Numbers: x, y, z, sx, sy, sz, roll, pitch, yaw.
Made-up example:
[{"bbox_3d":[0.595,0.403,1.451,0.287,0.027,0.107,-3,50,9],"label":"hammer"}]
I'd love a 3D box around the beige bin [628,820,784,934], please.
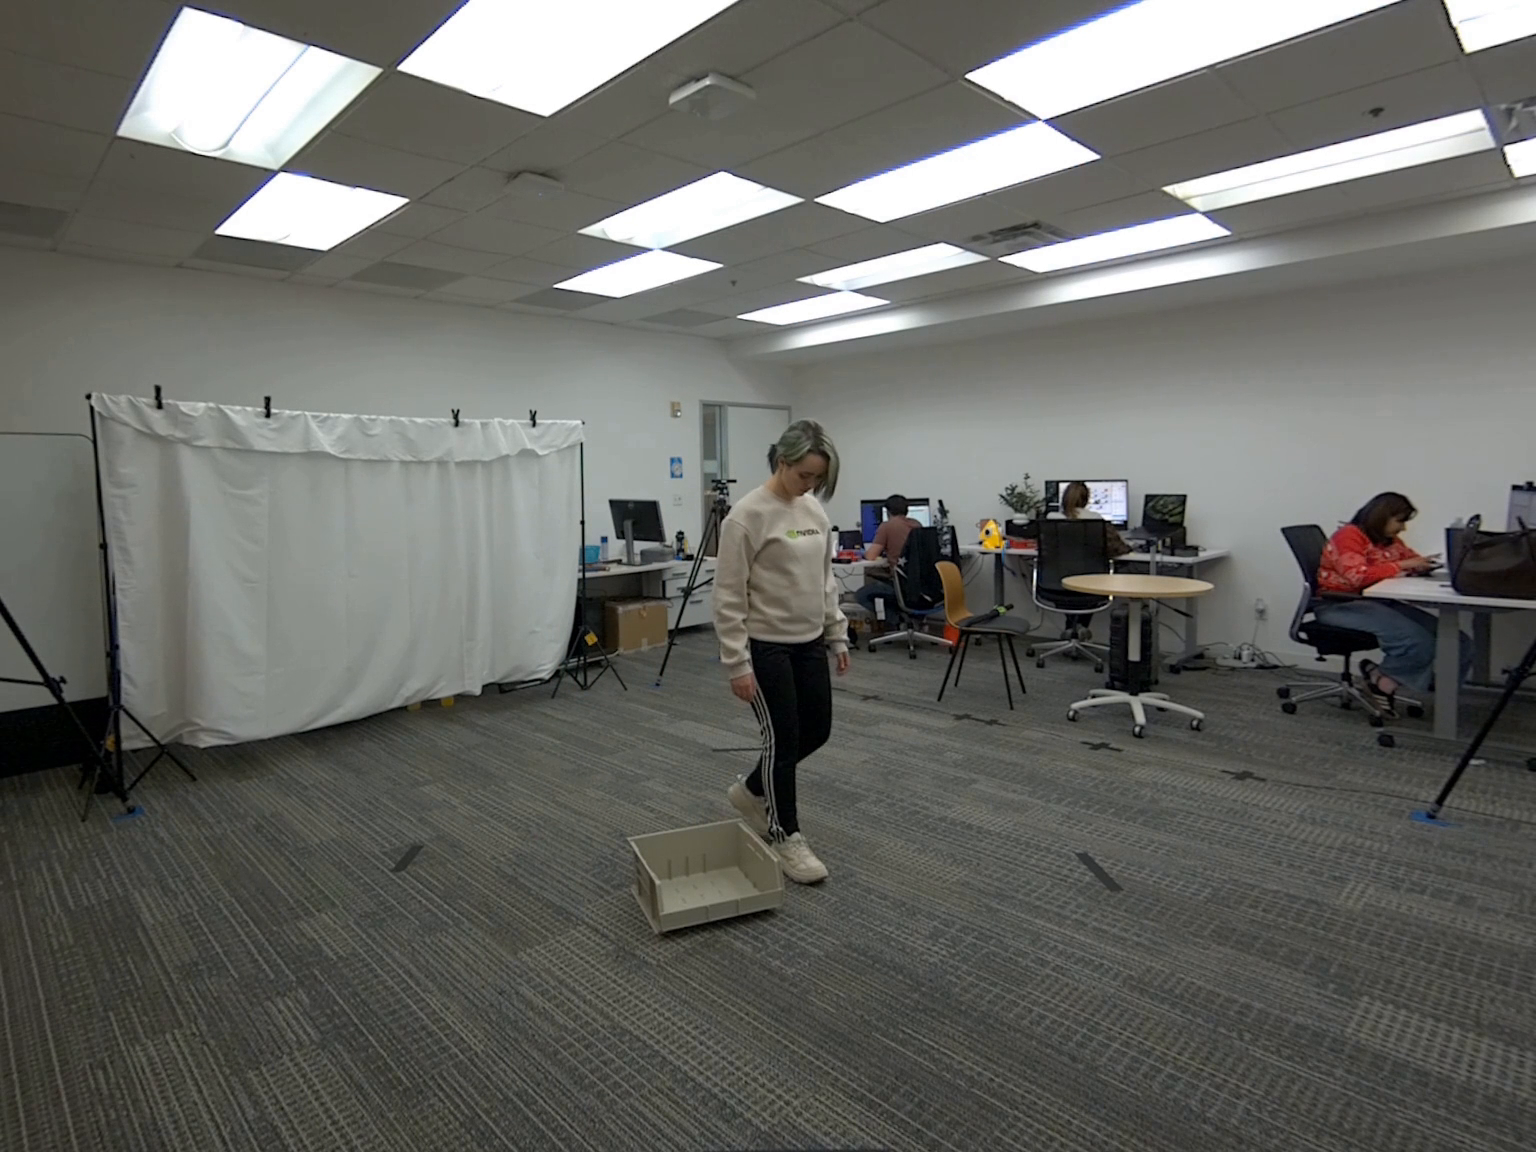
[{"bbox_3d":[-0.210,0.995,2.823,0.414,0.188,0.386,-4,6,-23],"label":"beige bin"}]
